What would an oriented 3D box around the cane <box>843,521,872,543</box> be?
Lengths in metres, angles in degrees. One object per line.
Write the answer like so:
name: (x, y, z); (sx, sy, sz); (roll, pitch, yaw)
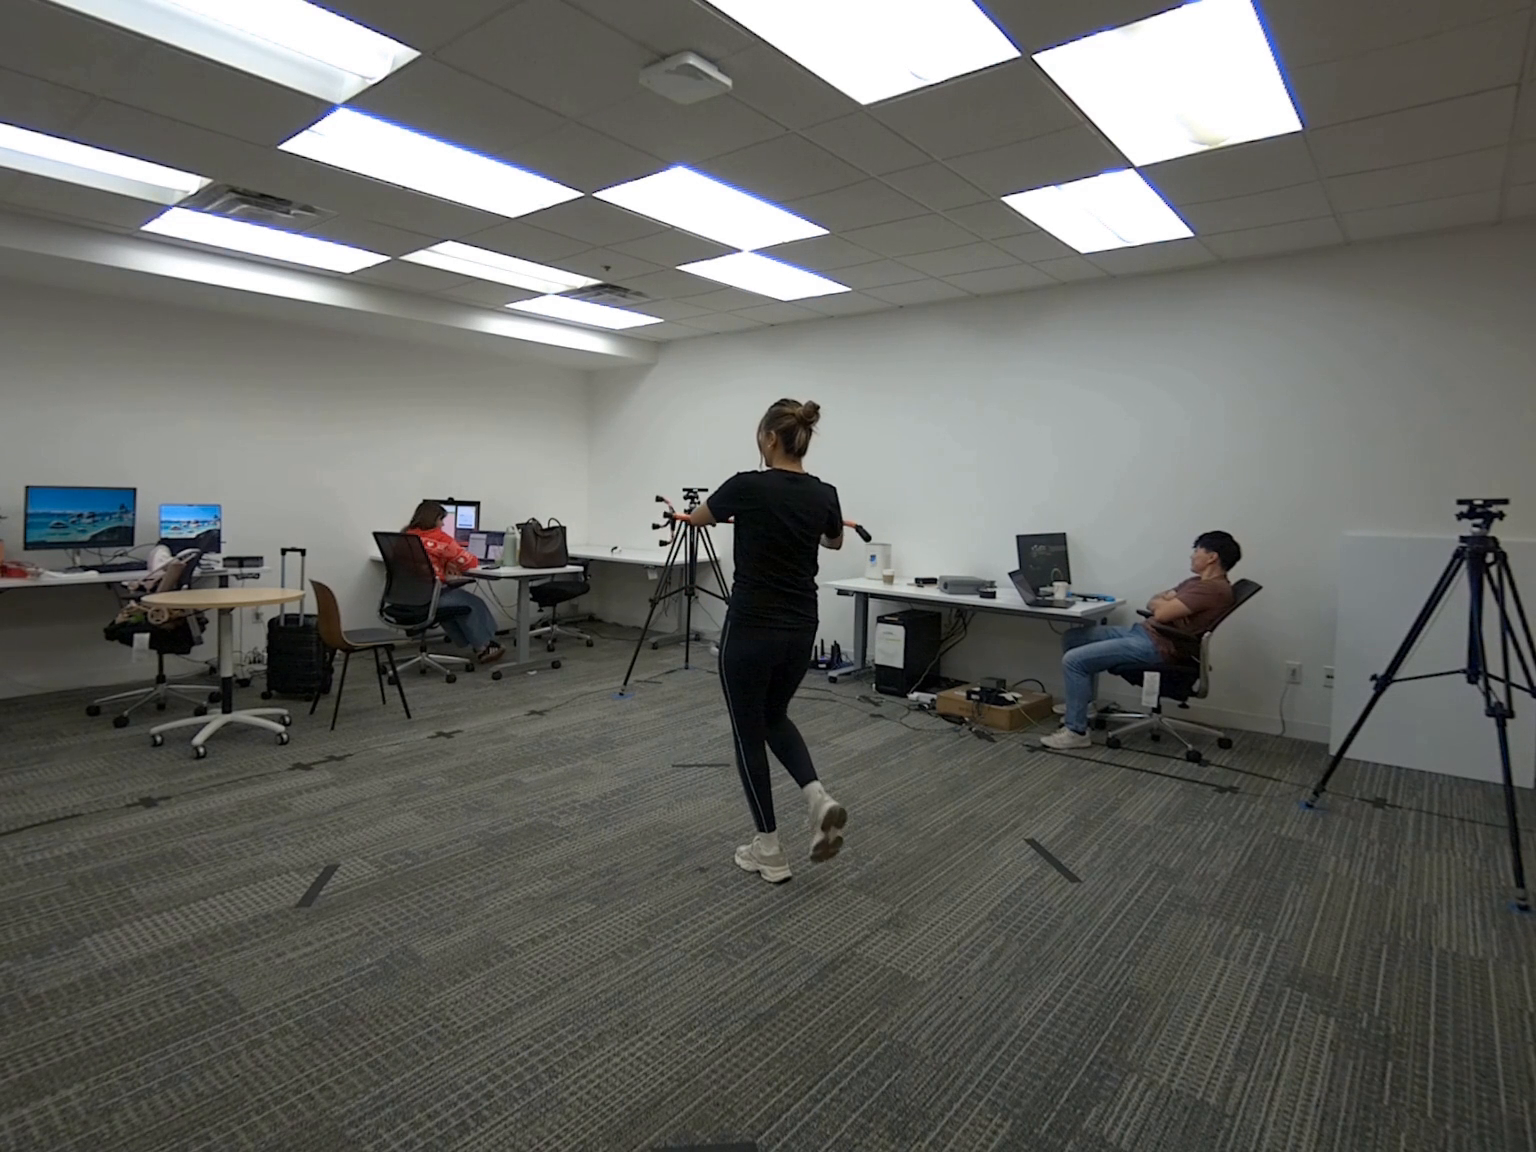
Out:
cane: (-0.031, -0.200, 3.572); (0.893, 0.149, 0.214); (2, 28, -15)
